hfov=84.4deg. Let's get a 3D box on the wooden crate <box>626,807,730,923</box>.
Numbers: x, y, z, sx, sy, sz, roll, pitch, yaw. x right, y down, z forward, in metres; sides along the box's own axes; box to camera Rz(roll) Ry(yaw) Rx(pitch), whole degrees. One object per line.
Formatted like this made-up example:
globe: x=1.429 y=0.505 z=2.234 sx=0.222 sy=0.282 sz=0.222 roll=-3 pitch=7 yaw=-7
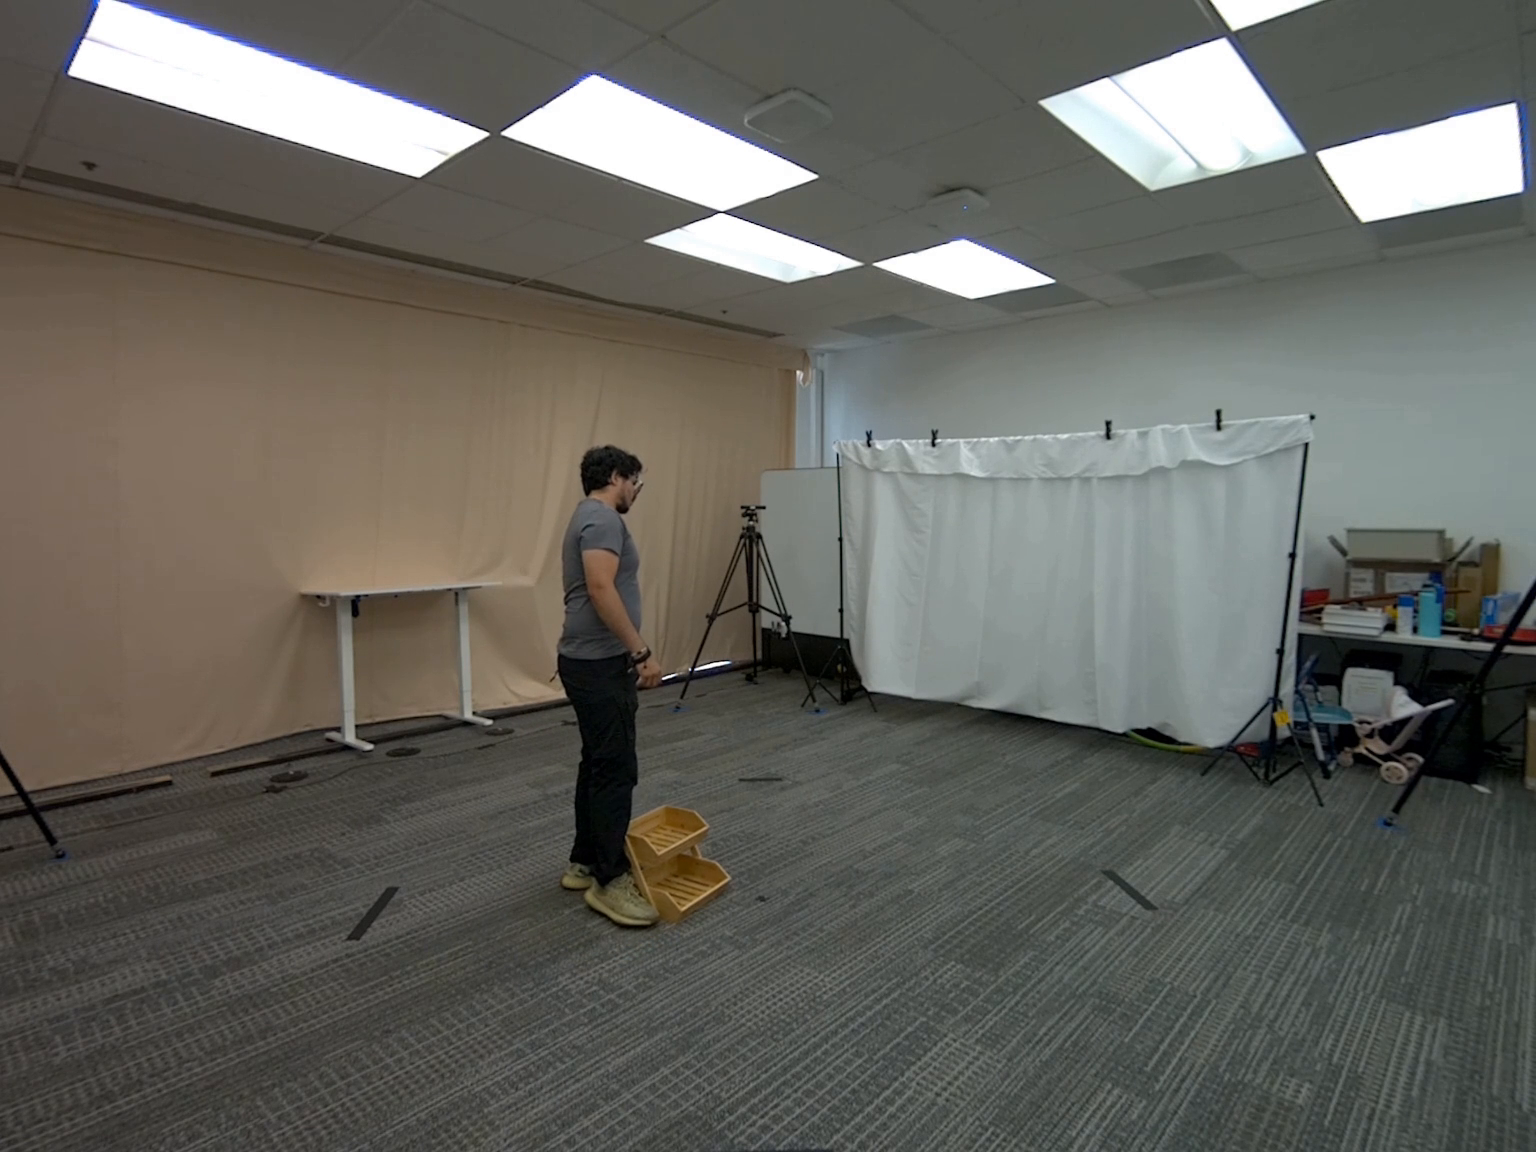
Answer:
wooden crate: x=-0.335 y=1.012 z=2.989 sx=0.311 sy=0.273 sz=0.315 roll=1 pitch=4 yaw=33
